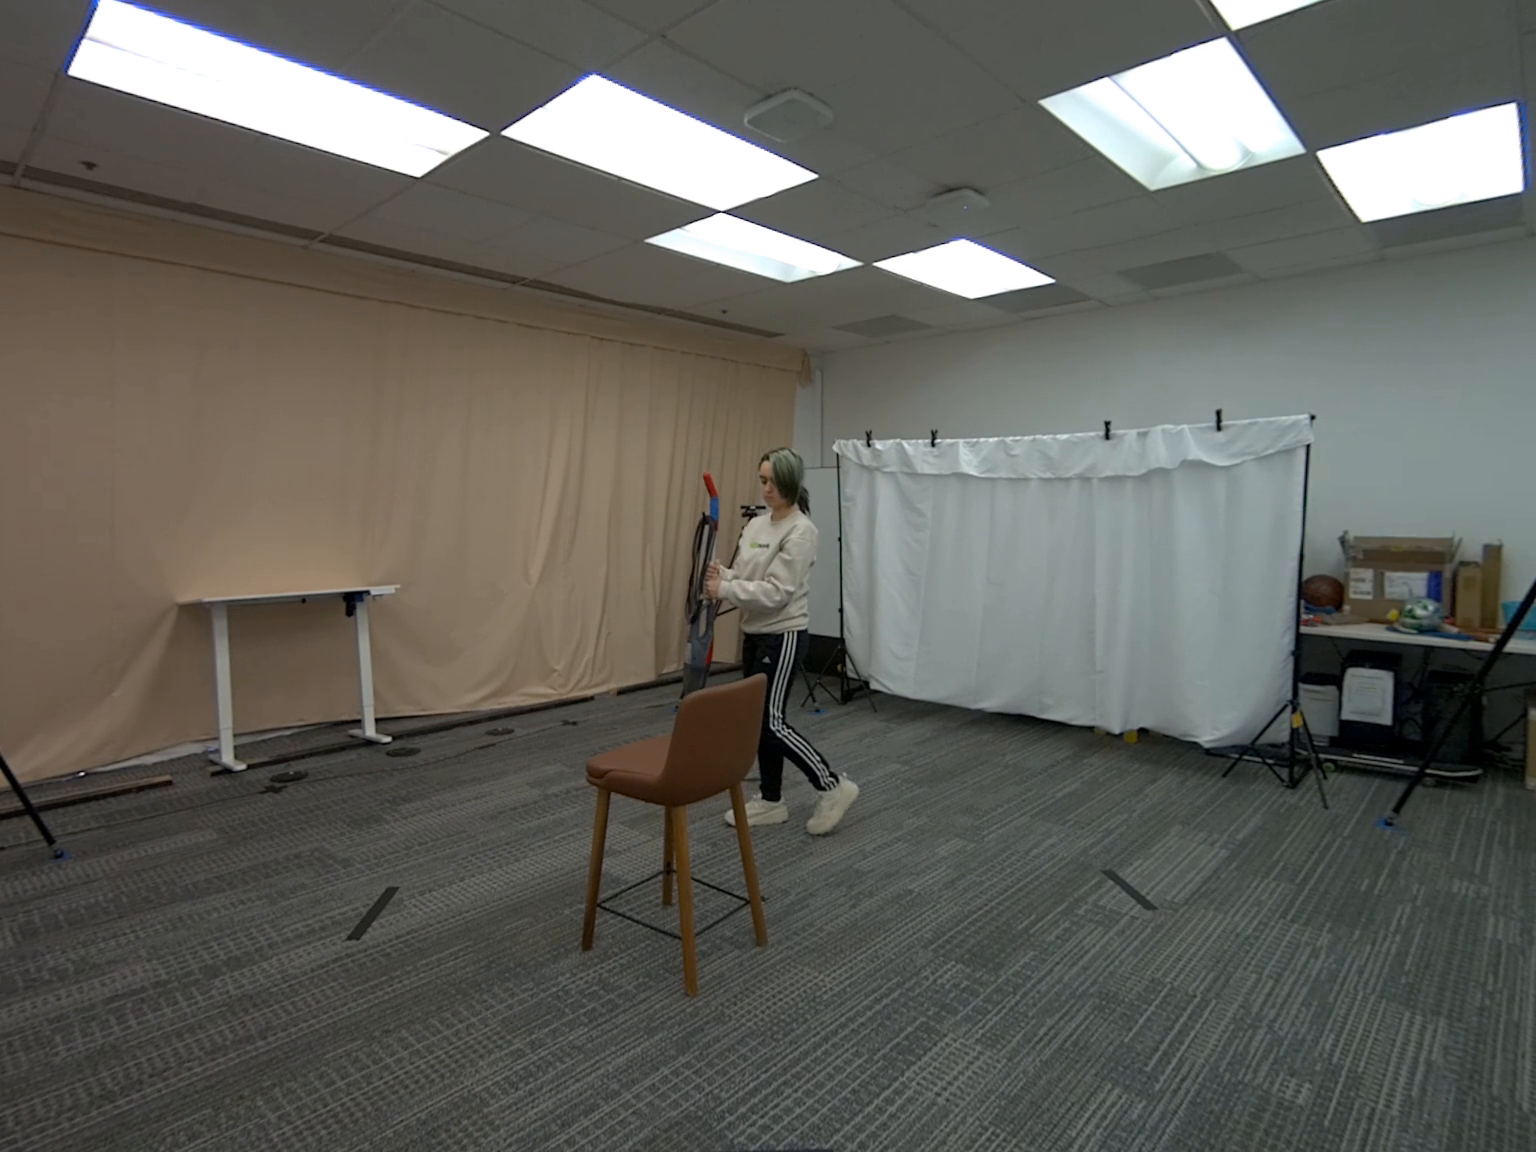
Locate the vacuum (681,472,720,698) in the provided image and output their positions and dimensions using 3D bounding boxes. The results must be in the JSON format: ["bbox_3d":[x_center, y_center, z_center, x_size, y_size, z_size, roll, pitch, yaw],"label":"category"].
[{"bbox_3d":[-0.275,0.108,3.455,0.140,1.047,0.261,-1,4,-36],"label":"vacuum"}]
